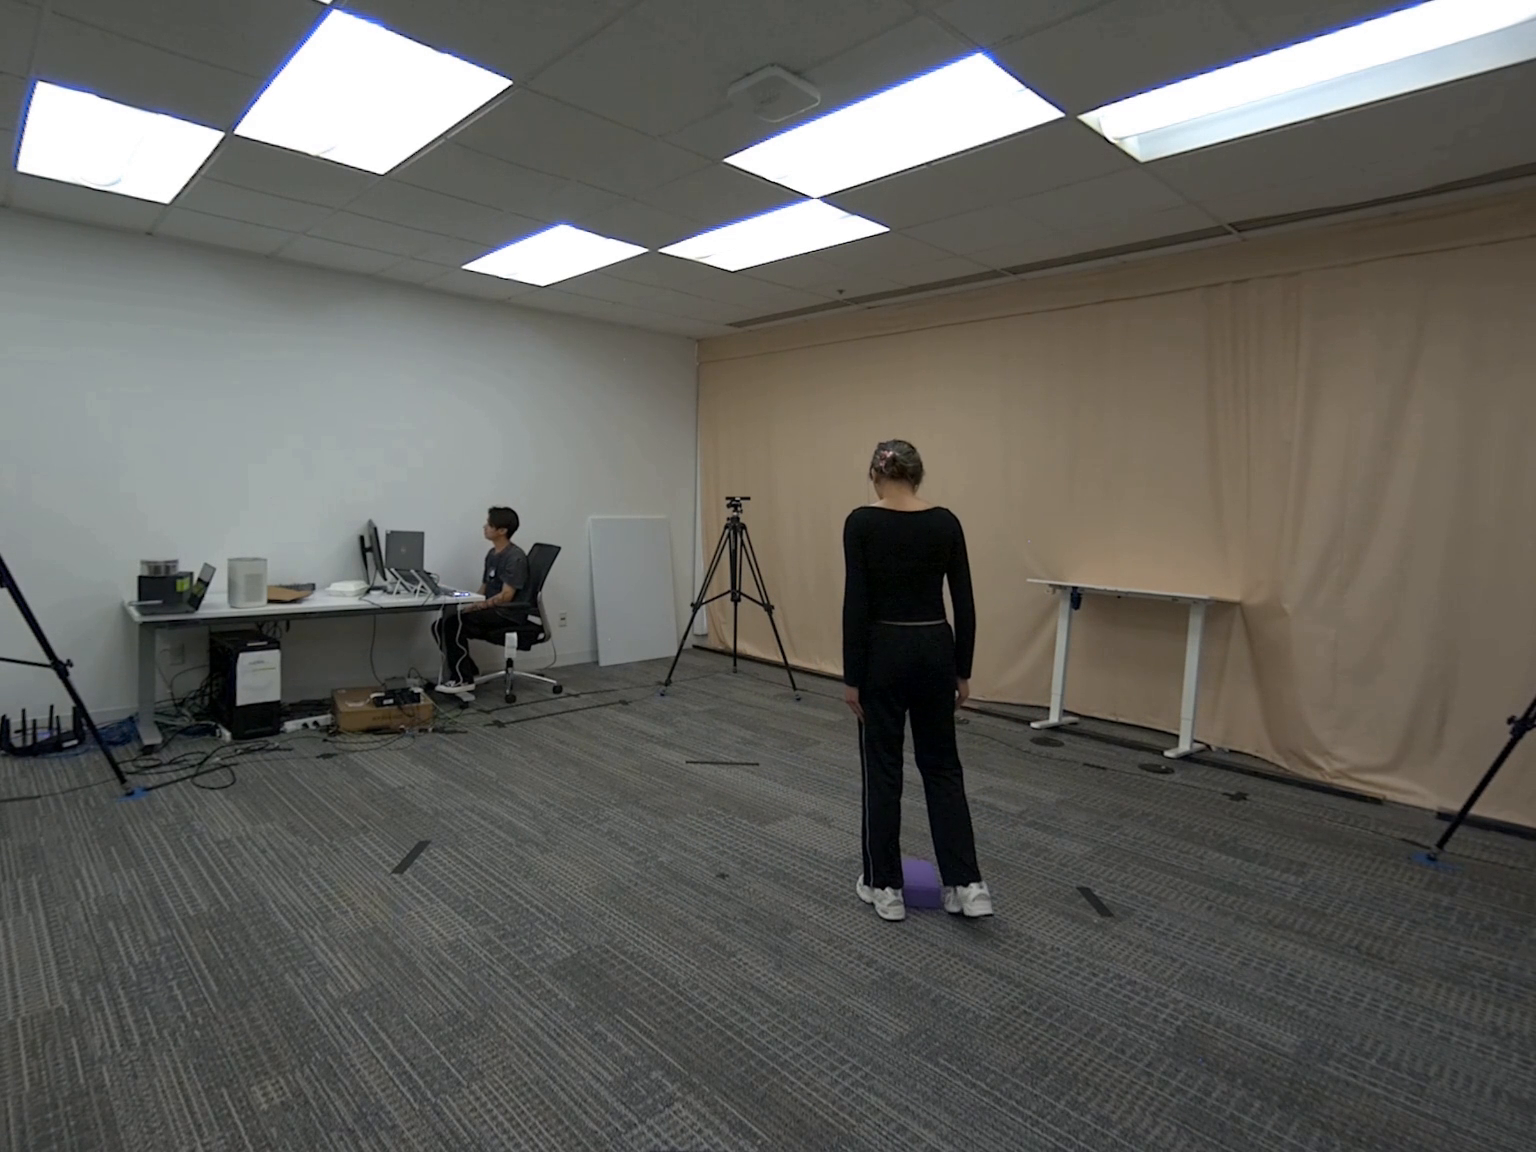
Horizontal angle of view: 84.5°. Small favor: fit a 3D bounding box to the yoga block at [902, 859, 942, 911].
[{"bbox_3d":[0.523,1.089,2.996,0.149,0.076,0.229,0,6,3],"label":"yoga block"}]
